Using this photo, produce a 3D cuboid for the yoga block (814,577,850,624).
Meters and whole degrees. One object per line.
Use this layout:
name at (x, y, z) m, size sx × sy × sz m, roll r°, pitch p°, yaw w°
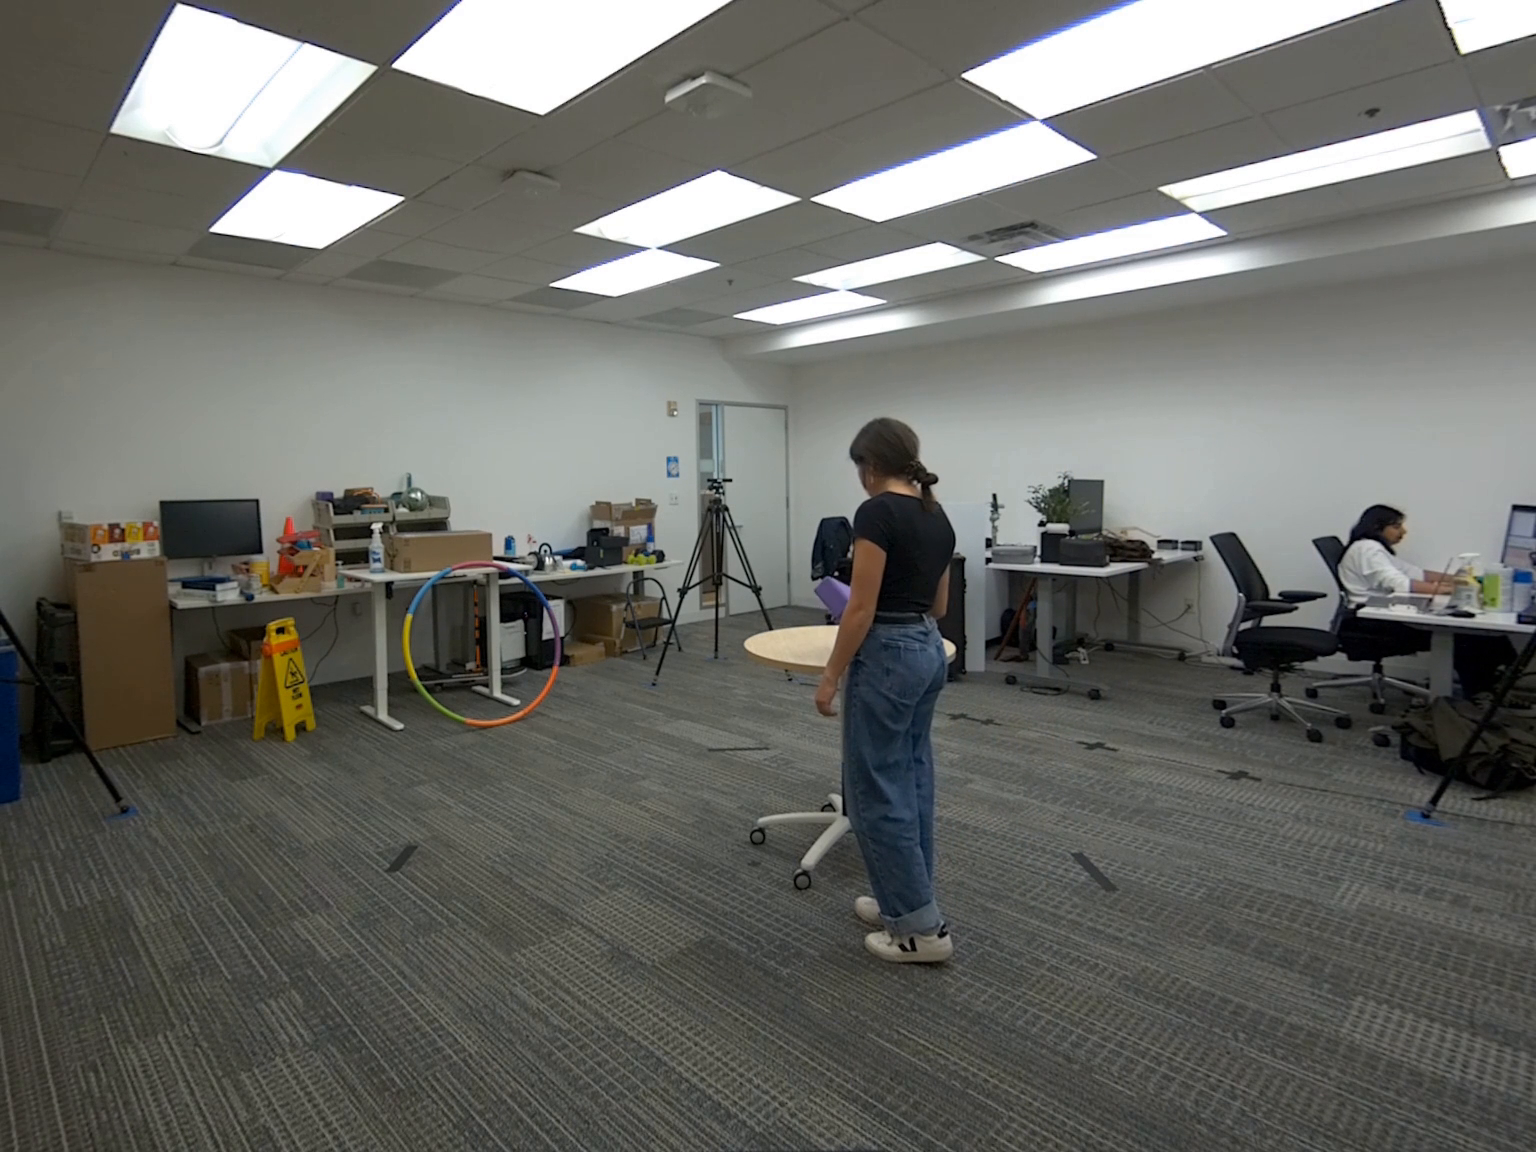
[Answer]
yoga block at (0.262, 0.101, 2.962) m, size 0.154 × 0.076 × 0.221 m, roll 51°, pitch 14°, yaw 29°
